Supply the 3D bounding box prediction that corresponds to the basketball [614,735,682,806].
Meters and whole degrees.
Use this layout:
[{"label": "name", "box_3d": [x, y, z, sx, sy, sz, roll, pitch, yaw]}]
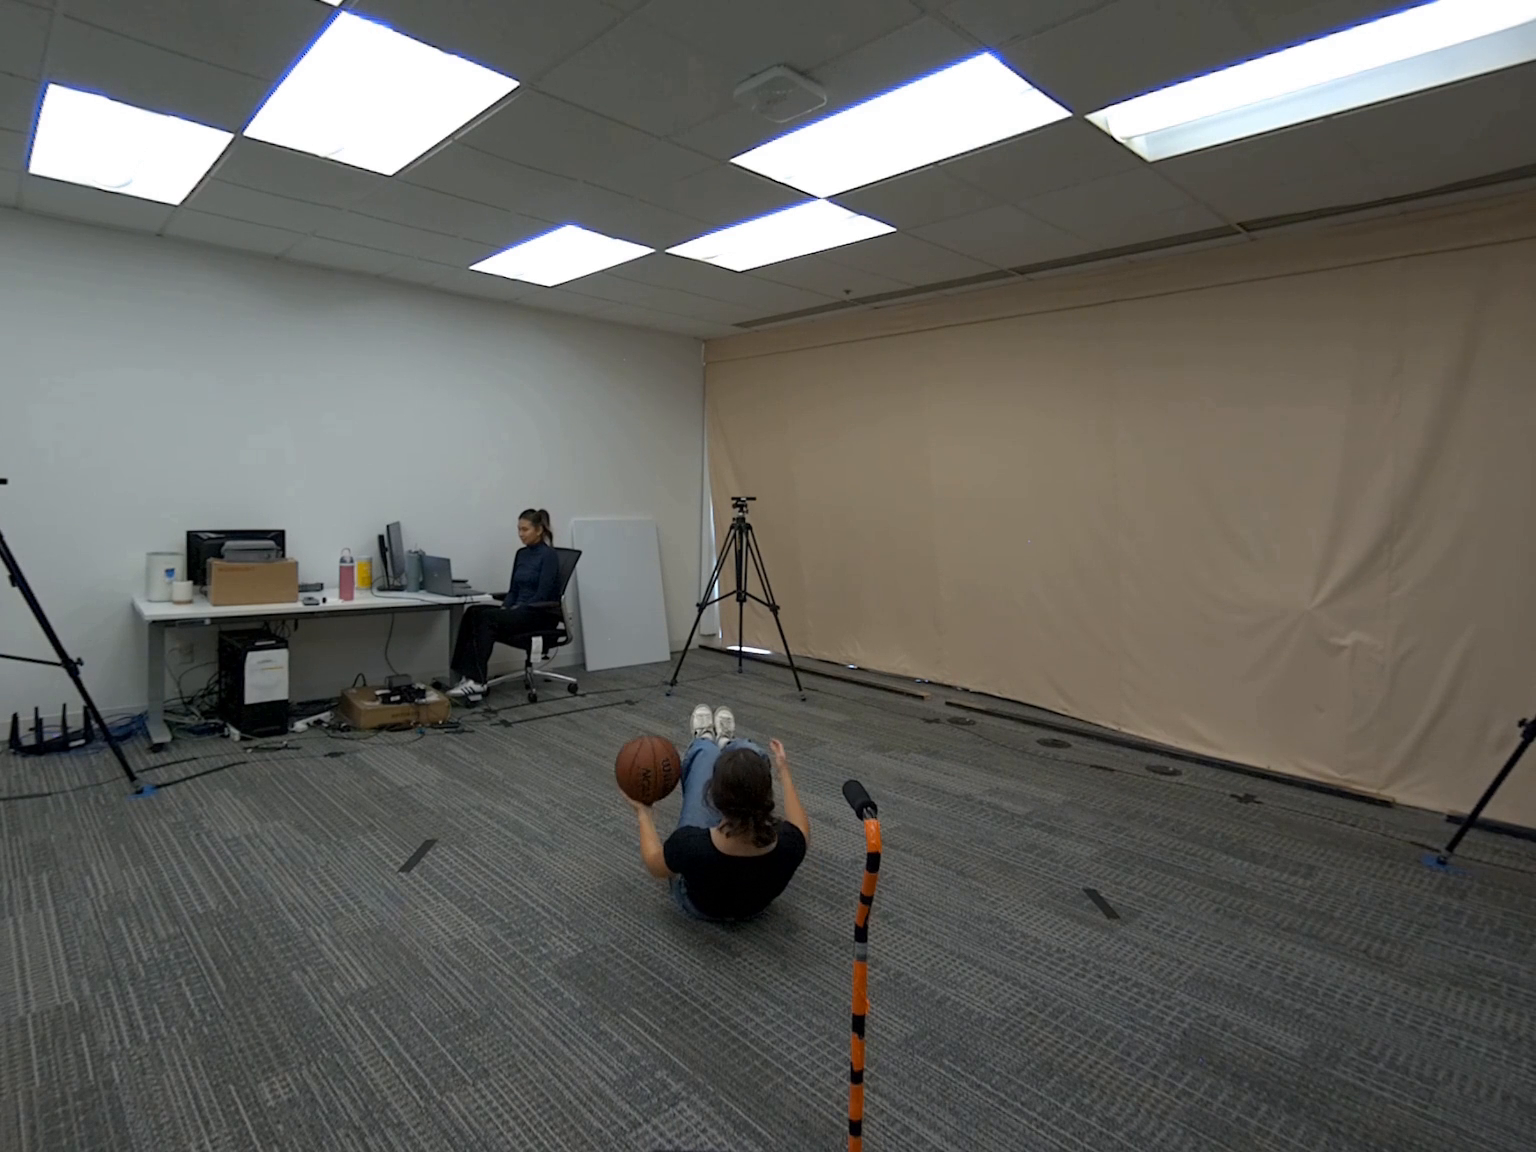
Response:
[{"label": "basketball", "box_3d": [-0.416, 0.683, 3.013, 0.236, 0.235, 0.237, 1, 4, -1]}]
